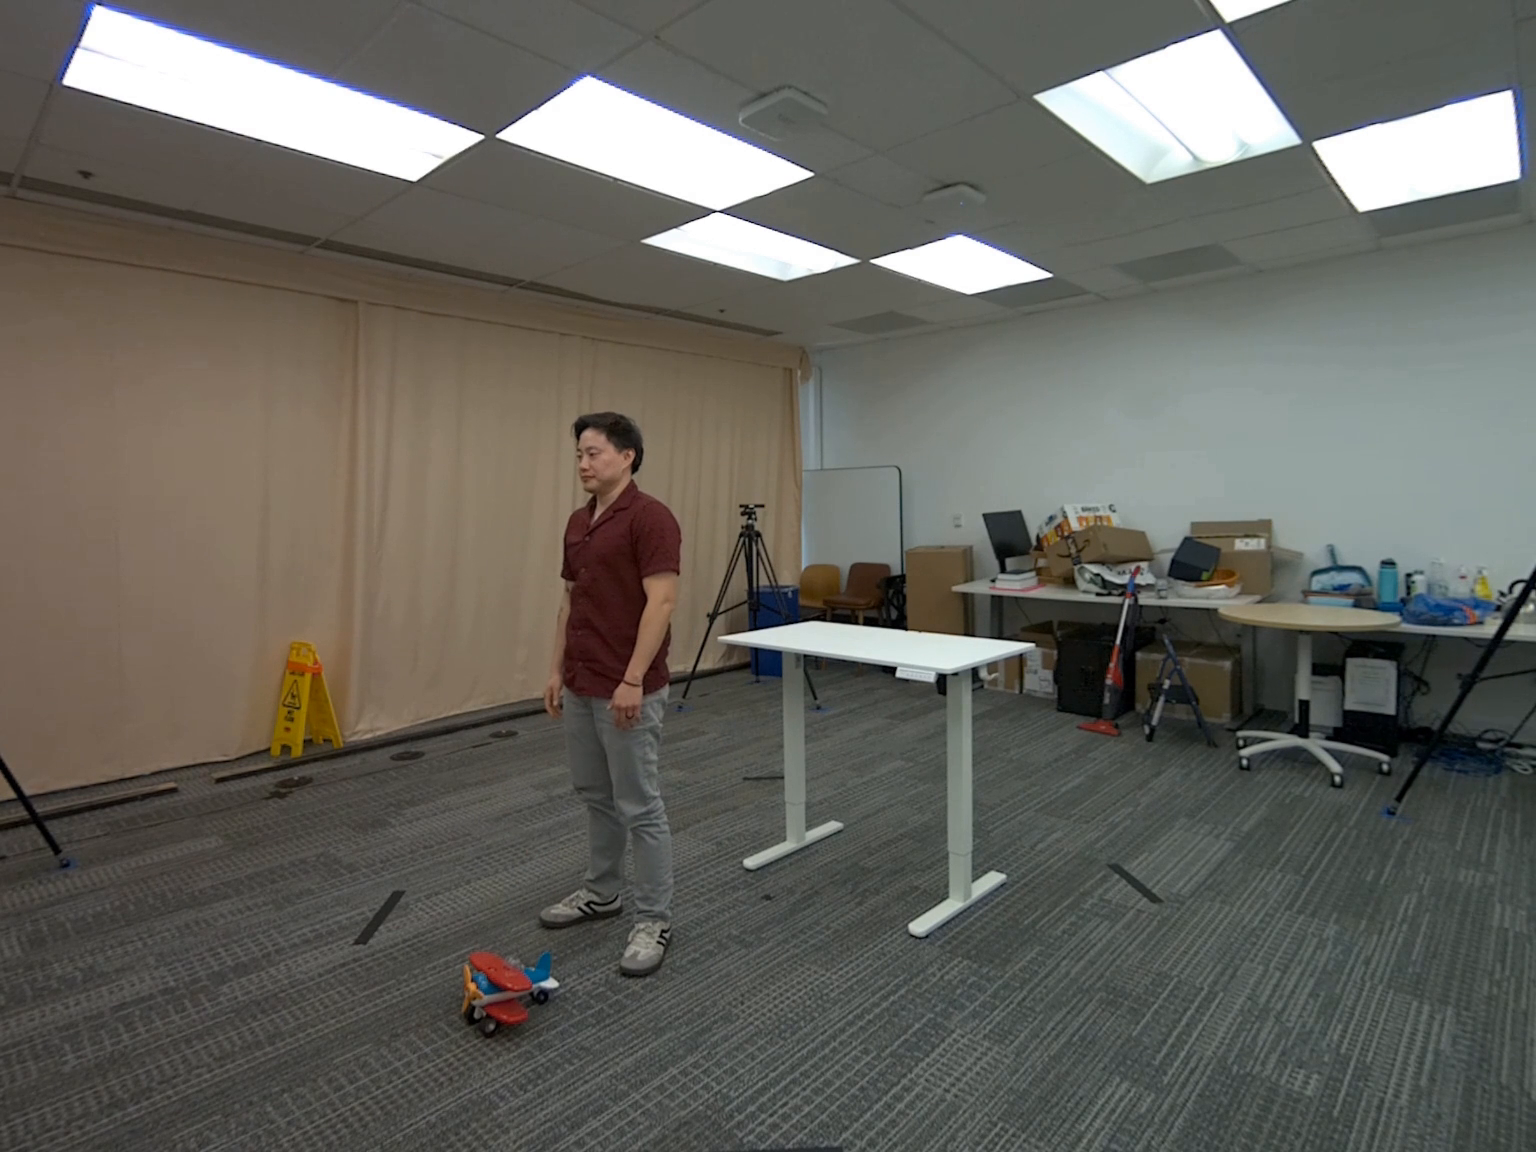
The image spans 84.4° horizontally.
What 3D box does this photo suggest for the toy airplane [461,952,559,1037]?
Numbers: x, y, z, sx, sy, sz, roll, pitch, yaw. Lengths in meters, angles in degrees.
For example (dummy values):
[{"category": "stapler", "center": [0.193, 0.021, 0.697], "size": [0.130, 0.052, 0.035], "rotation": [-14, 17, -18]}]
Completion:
[{"category": "toy airplane", "center": [-0.728, 1.139, 2.323], "size": [0.255, 0.156, 0.256], "rotation": [1, 6, 15]}]
